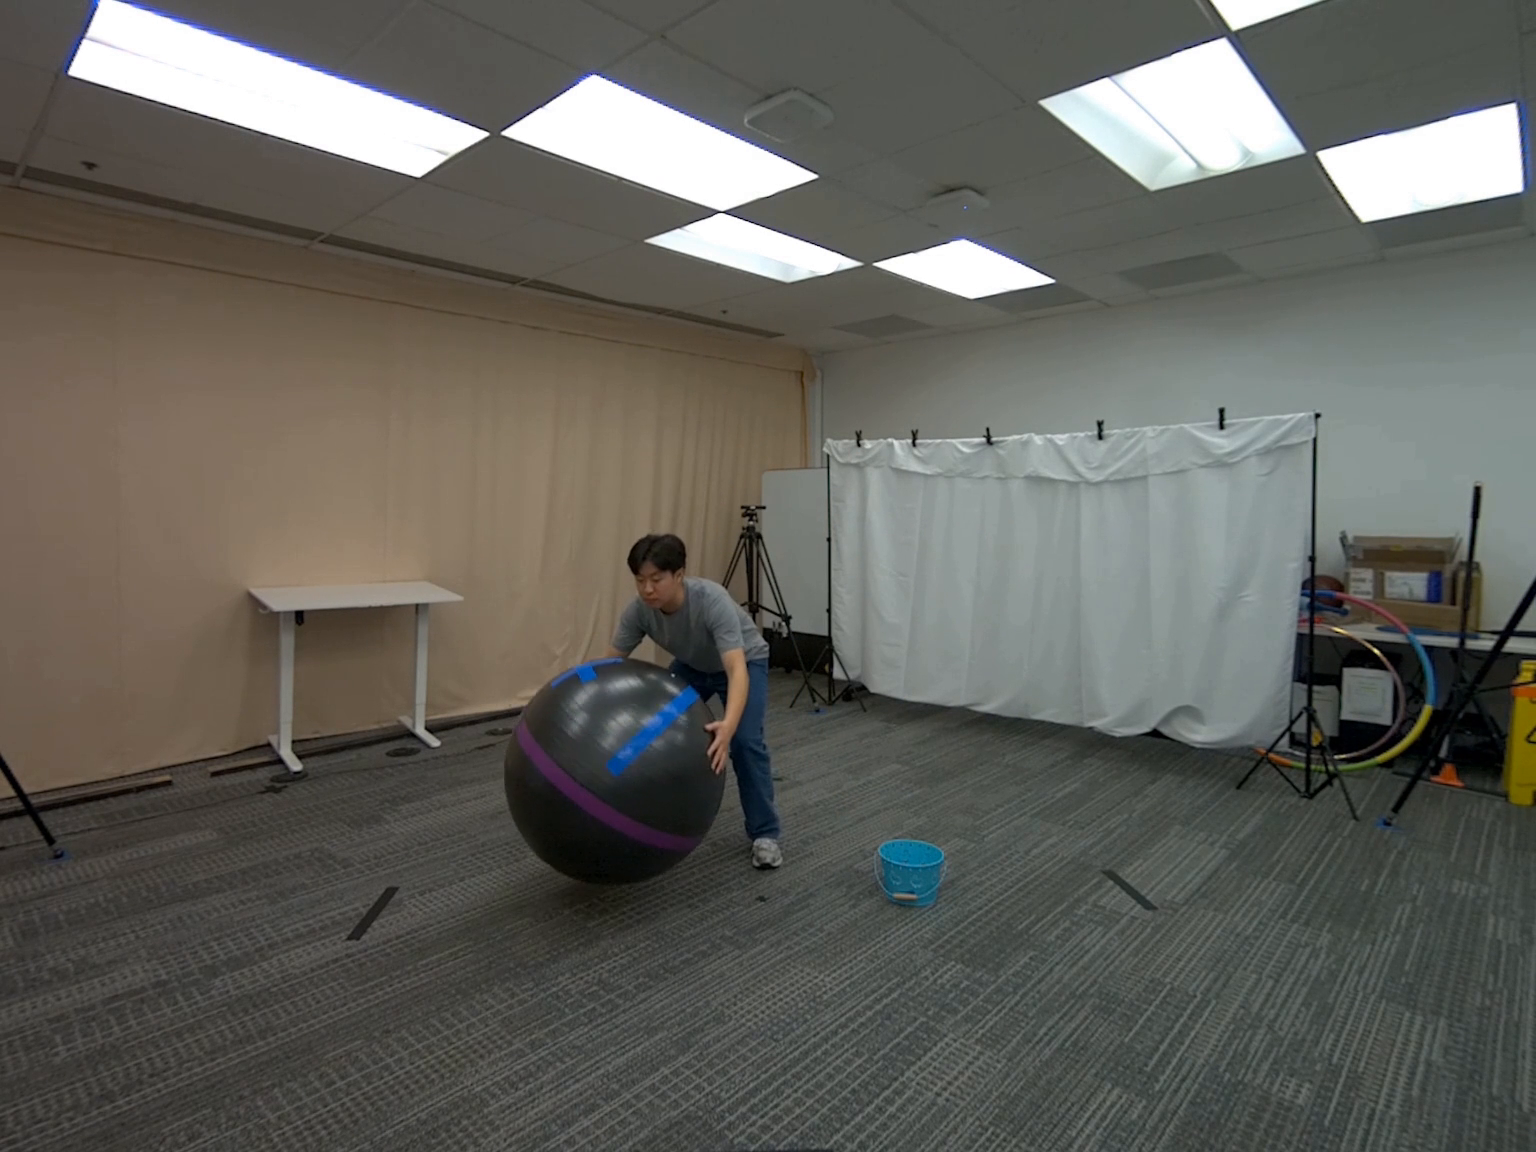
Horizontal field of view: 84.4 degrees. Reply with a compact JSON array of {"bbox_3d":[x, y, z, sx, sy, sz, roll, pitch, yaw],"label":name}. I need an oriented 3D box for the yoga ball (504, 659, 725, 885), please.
[{"bbox_3d":[-0.534,0.657,2.922,0.757,0.756,0.760,0,4,-2],"label":"yoga ball"}]
